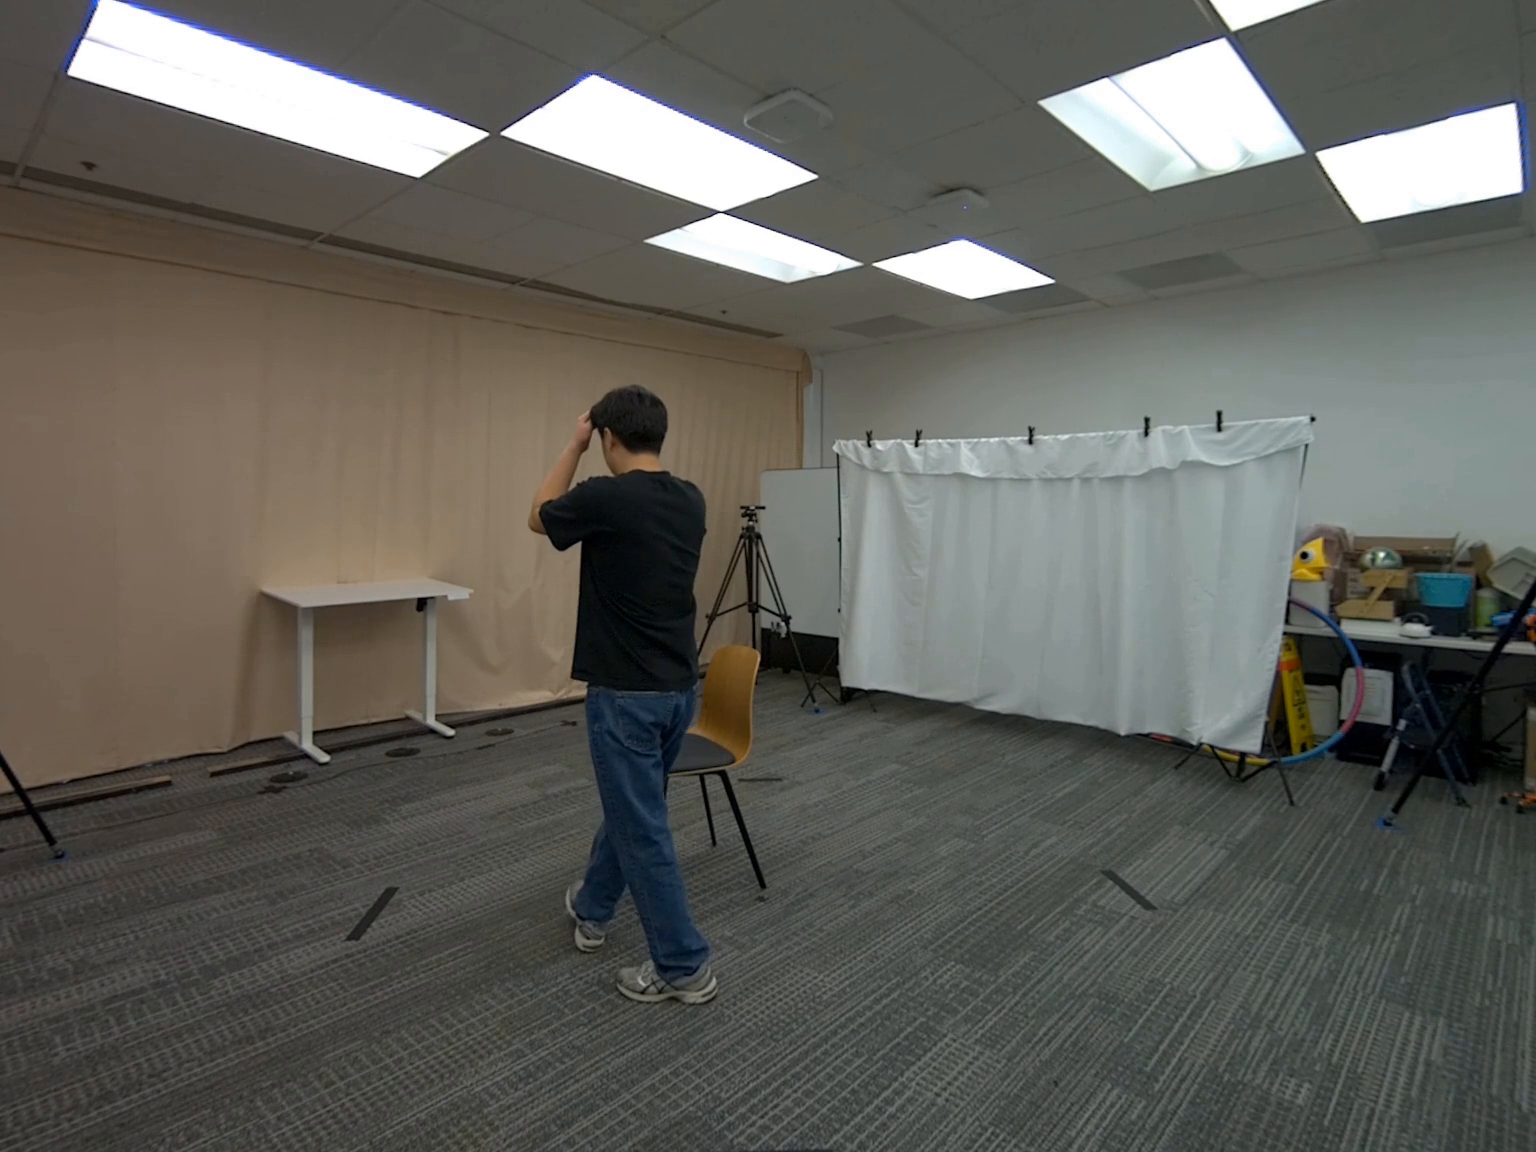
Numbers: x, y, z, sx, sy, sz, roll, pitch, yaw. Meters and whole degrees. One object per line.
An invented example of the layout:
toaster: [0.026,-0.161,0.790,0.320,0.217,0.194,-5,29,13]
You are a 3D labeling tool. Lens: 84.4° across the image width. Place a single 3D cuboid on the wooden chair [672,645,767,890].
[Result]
wooden chair: [-0.316,0.706,3.140,0.510,0.876,0.491,2,2,-27]
